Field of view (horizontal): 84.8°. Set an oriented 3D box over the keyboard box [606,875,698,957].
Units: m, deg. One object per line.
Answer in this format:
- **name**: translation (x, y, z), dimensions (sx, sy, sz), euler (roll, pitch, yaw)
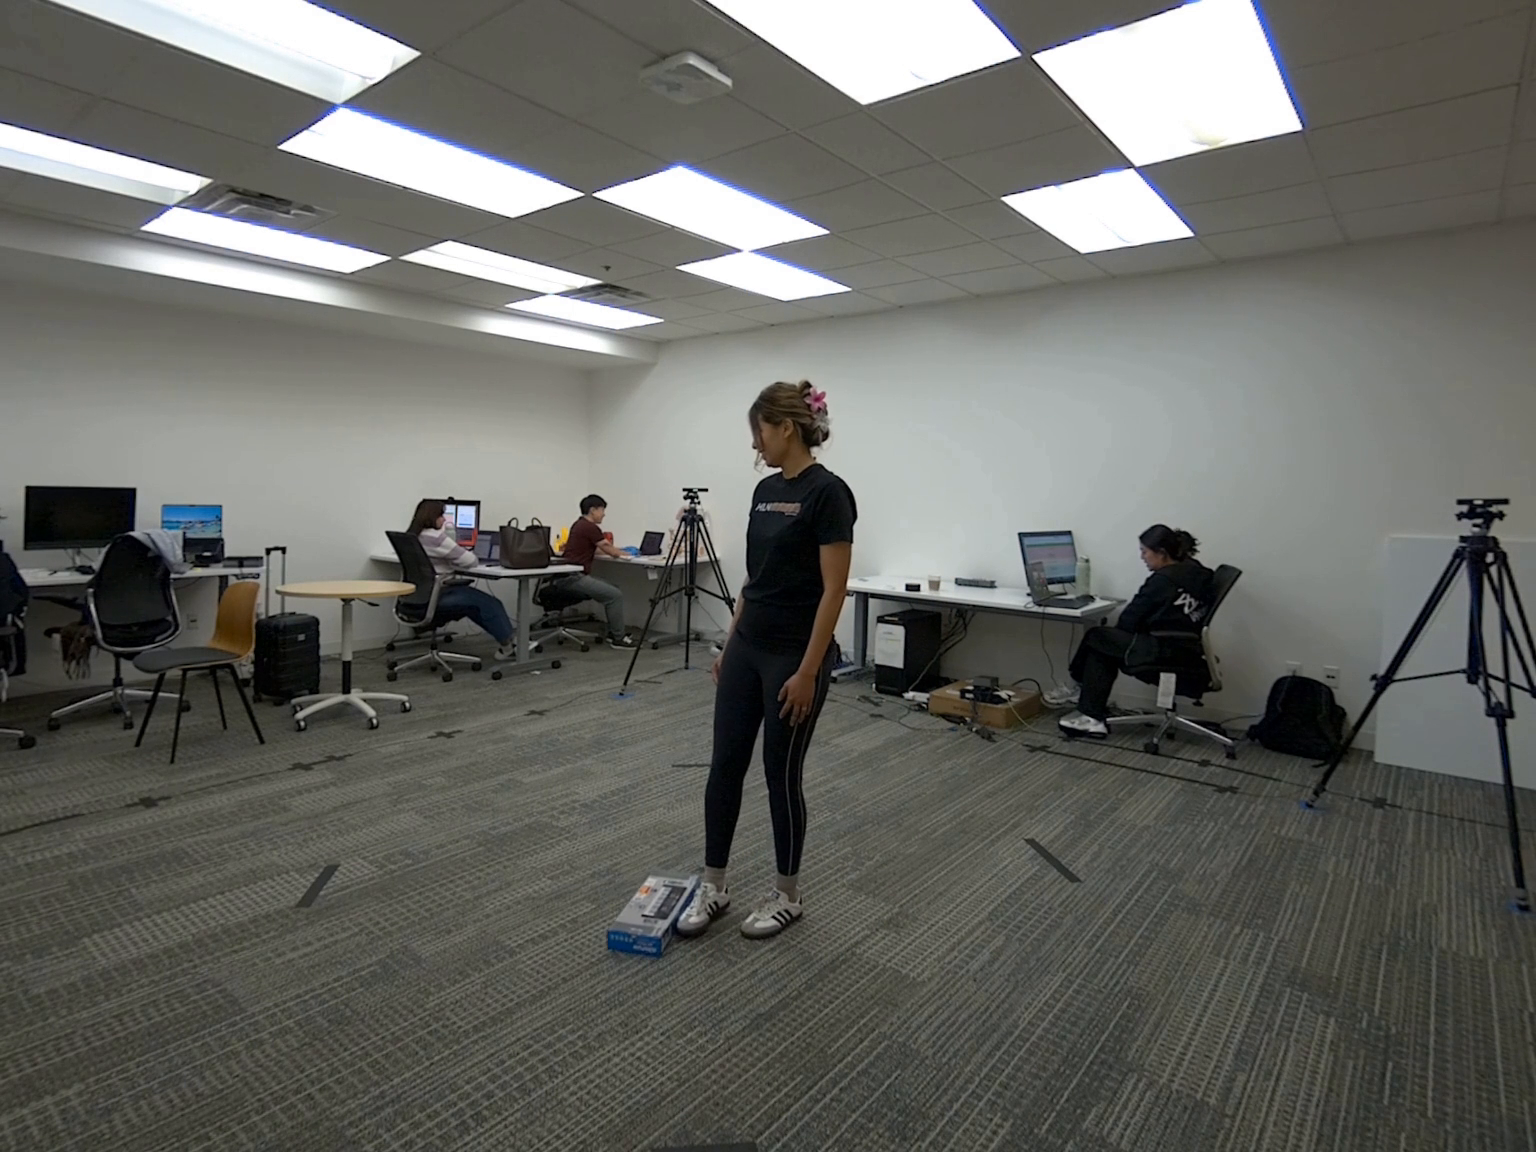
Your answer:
- **keyboard box**: translation (-0.369, 1.073, 2.742), dimensions (0.178, 0.059, 0.432), euler (1, 6, 12)
